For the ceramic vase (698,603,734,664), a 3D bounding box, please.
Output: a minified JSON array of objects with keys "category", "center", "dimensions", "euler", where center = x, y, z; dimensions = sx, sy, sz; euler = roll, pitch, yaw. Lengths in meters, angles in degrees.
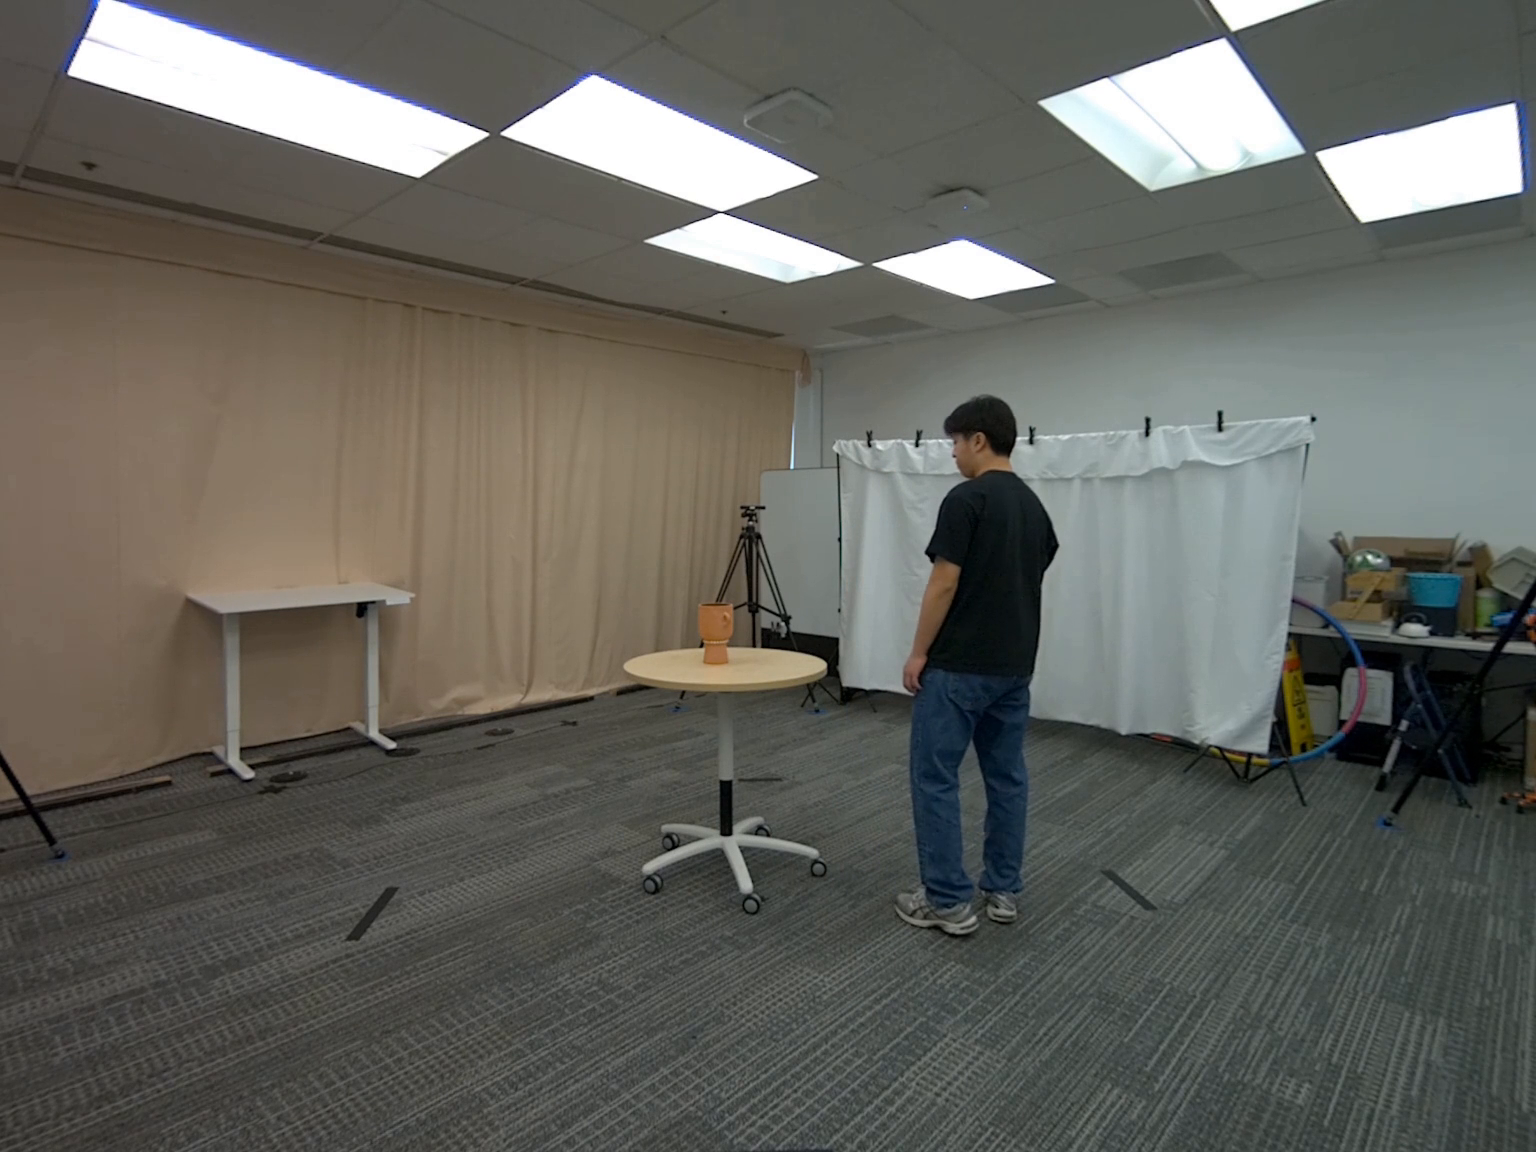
[{"category":"ceramic vase","center":[-0.199,0.222,3.214],"dimensions":[0.136,0.219,0.157],"euler":[0,3,8]}]
